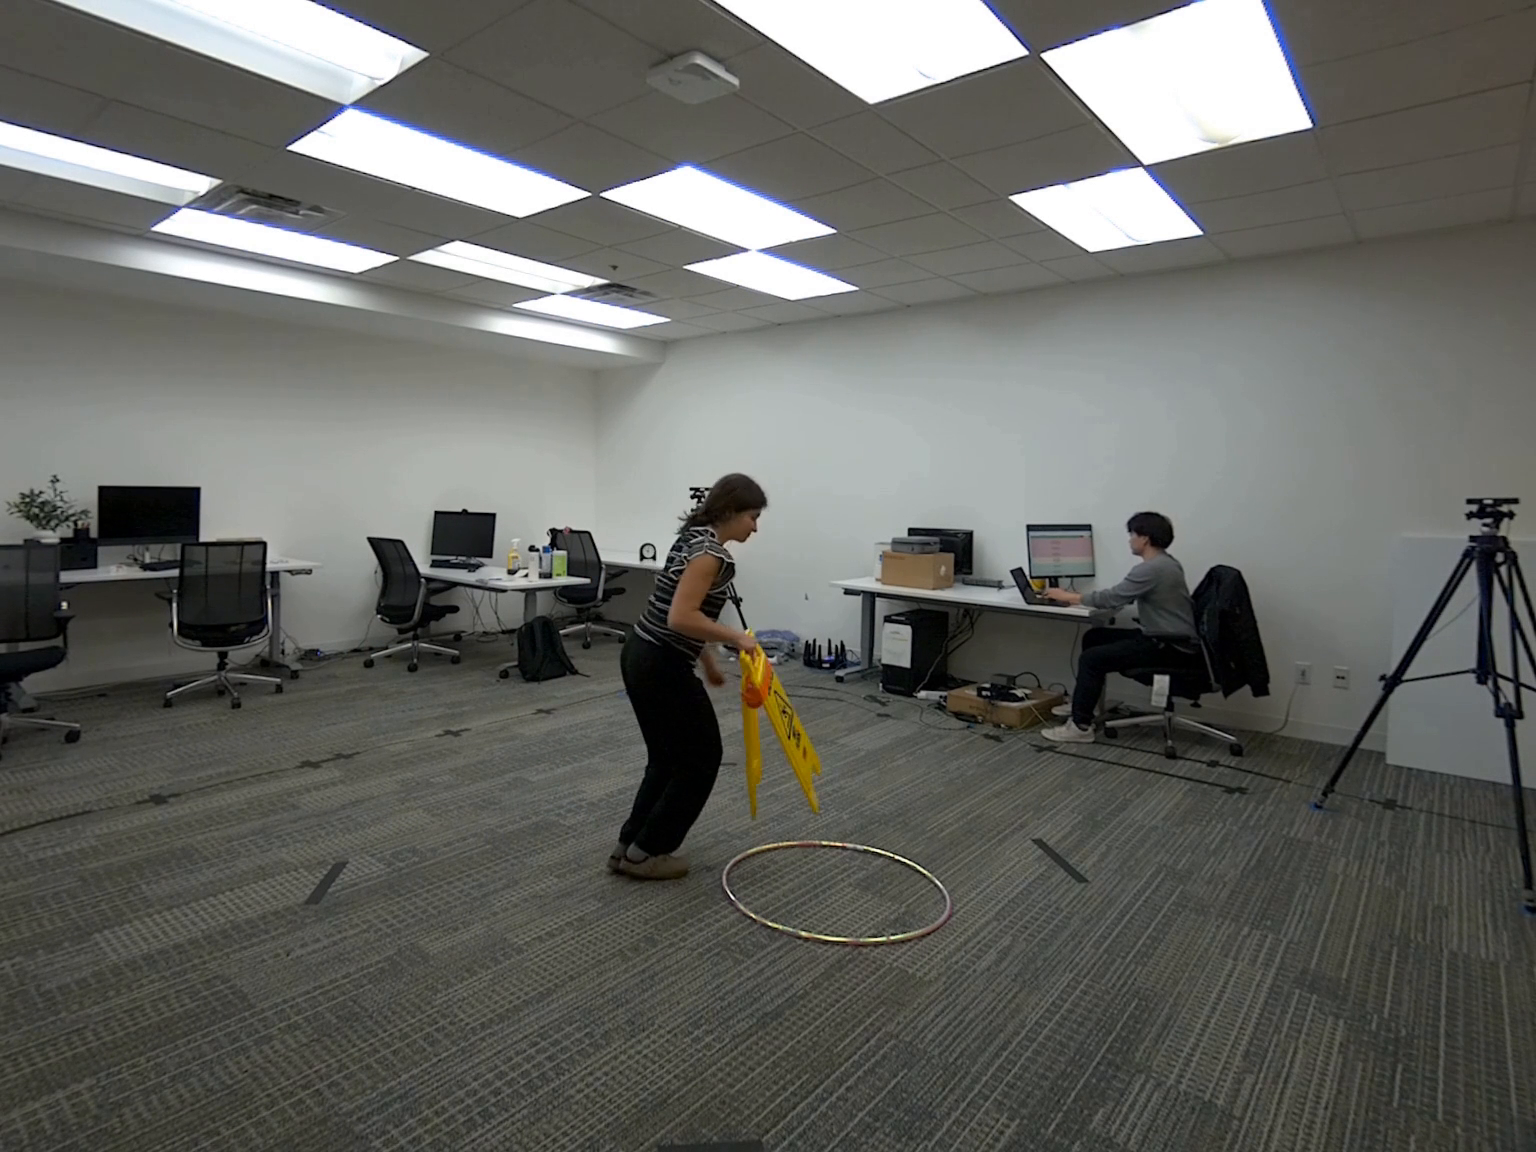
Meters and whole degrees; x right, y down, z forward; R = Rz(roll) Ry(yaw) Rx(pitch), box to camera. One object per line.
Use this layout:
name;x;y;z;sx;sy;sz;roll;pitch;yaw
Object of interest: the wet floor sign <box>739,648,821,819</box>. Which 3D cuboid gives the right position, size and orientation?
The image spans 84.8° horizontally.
wet floor sign;-0.039;0.500;3.046;0.293;0.632;0.285;-11;19;11
